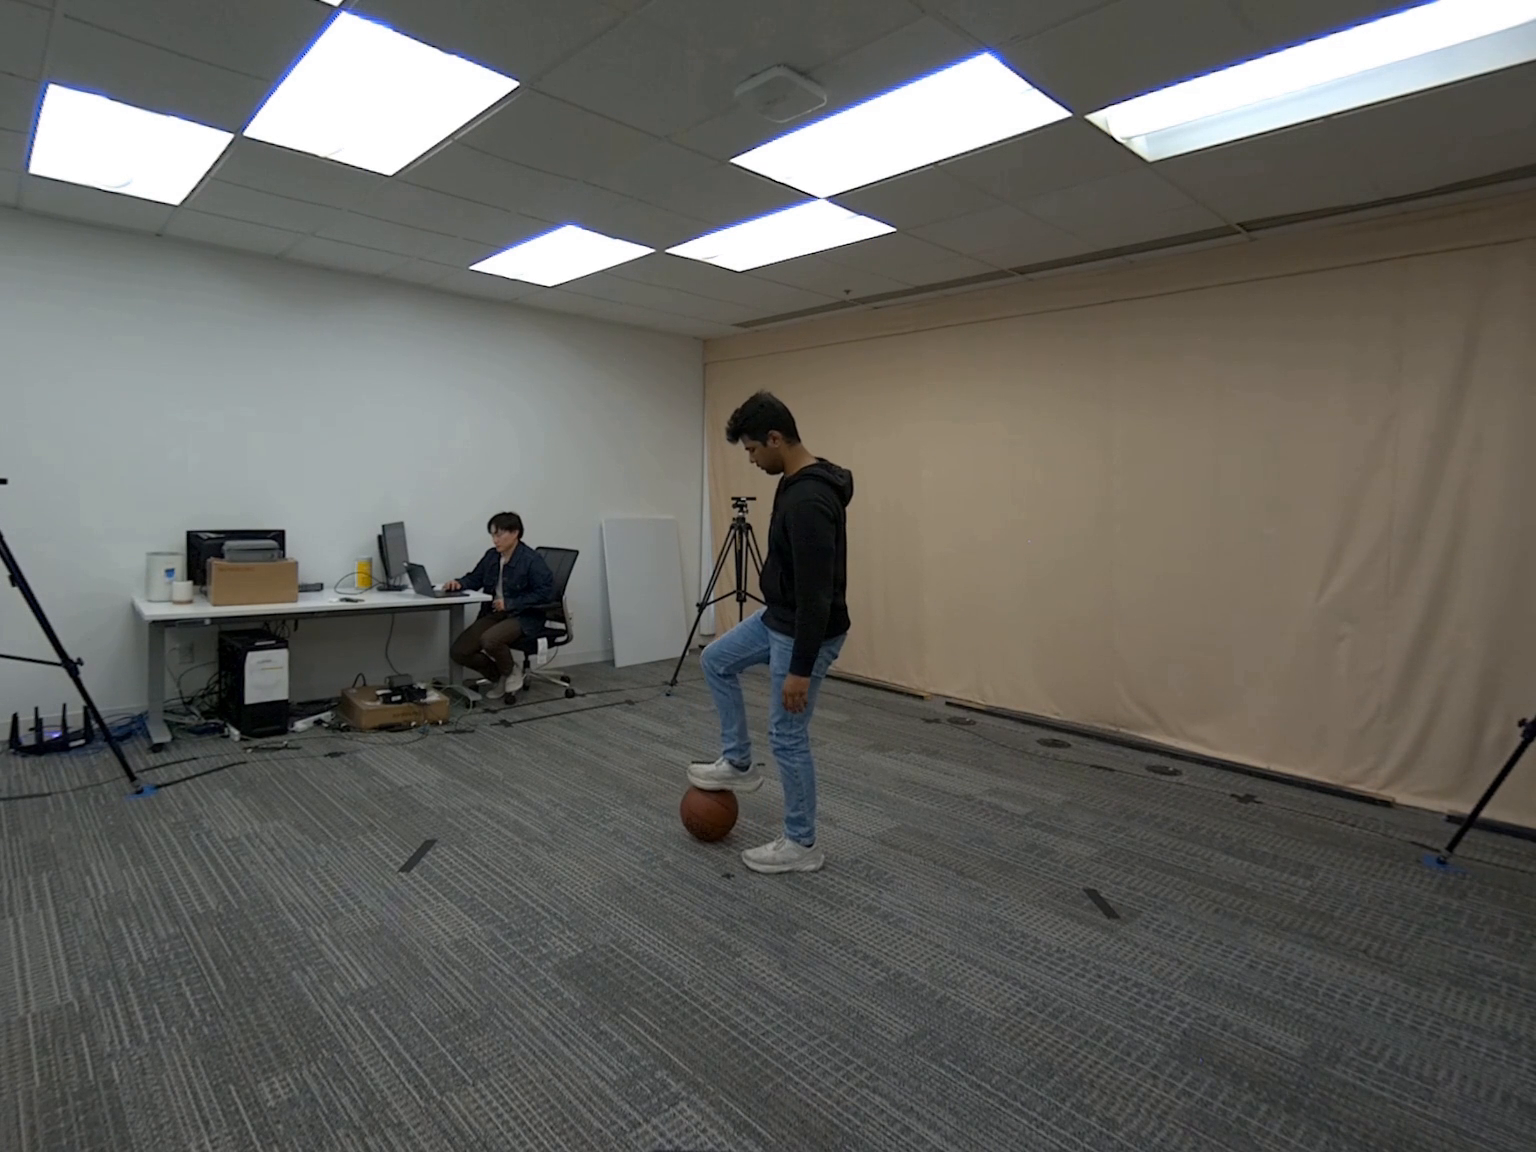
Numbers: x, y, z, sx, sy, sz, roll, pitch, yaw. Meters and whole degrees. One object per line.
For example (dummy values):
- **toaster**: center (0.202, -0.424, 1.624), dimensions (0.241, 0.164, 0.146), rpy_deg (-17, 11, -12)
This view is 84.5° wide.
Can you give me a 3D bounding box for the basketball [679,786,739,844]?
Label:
- **basketball**: center (-0.247, 0.955, 3.442), dimensions (0.236, 0.235, 0.237), rpy_deg (1, 4, -1)
